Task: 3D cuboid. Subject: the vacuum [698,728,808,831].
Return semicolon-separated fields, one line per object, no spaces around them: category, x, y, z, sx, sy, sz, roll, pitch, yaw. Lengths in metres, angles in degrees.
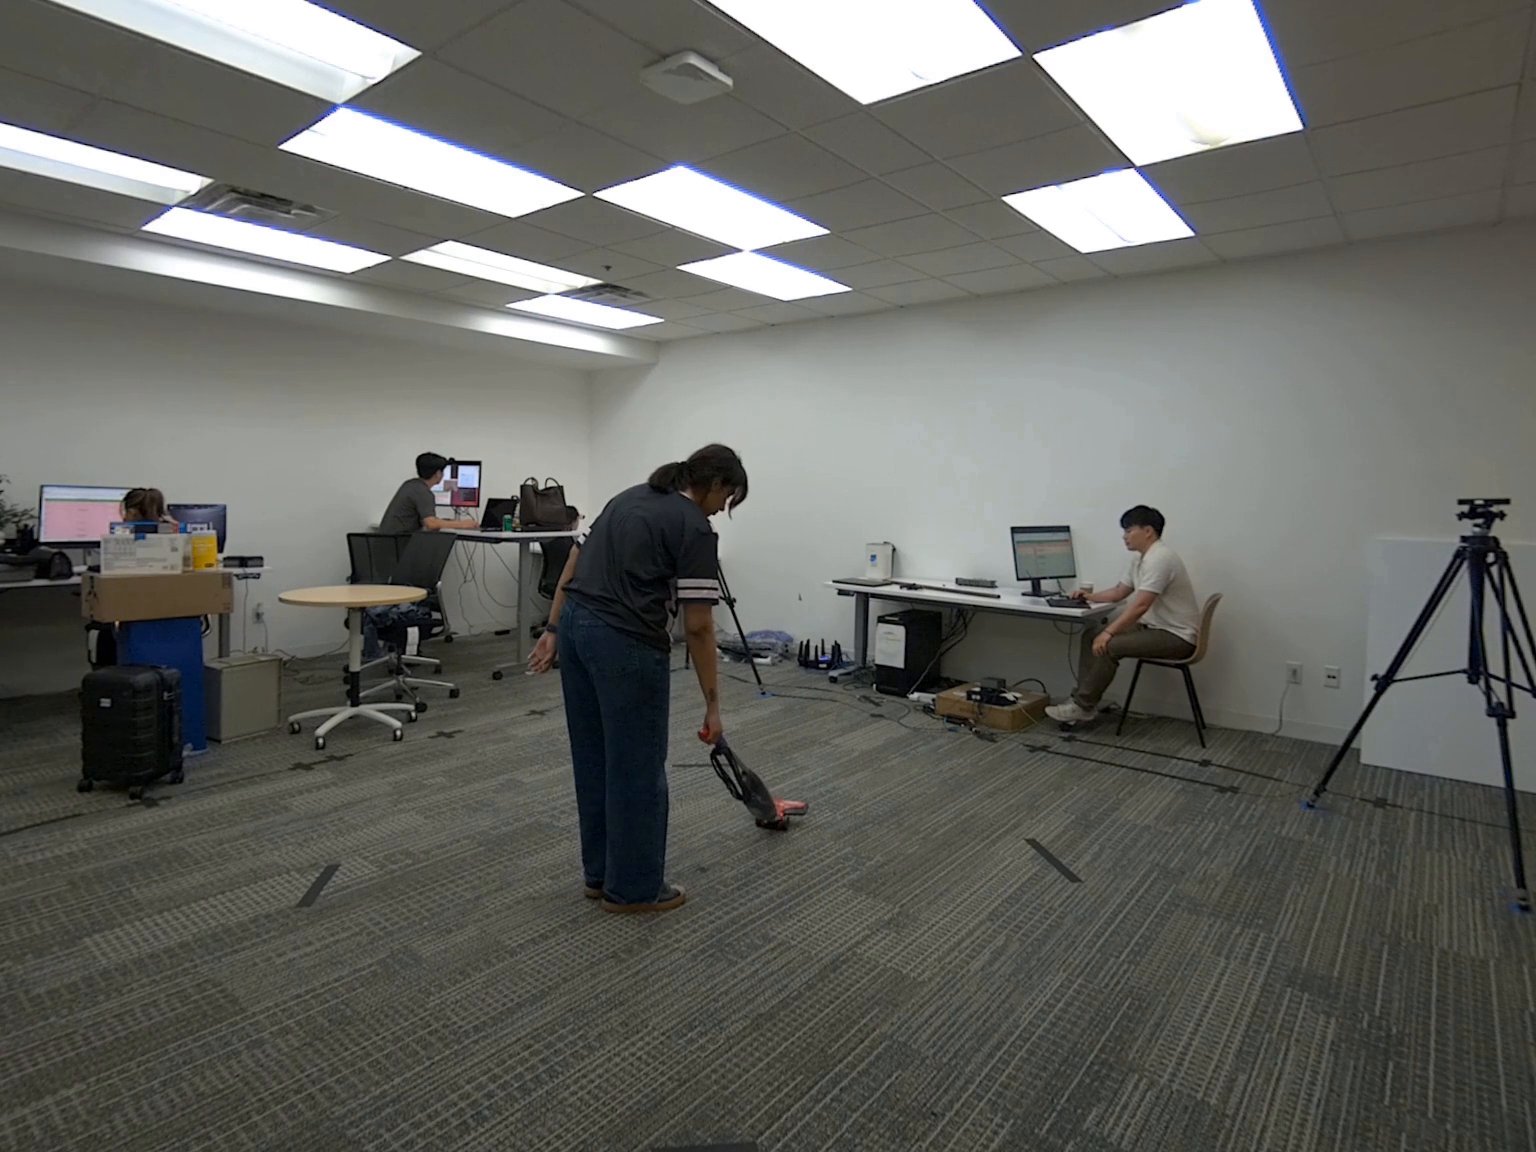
vacuum;-0.103;0.757;3.135;0.257;0.147;1.010;2;-28;17
